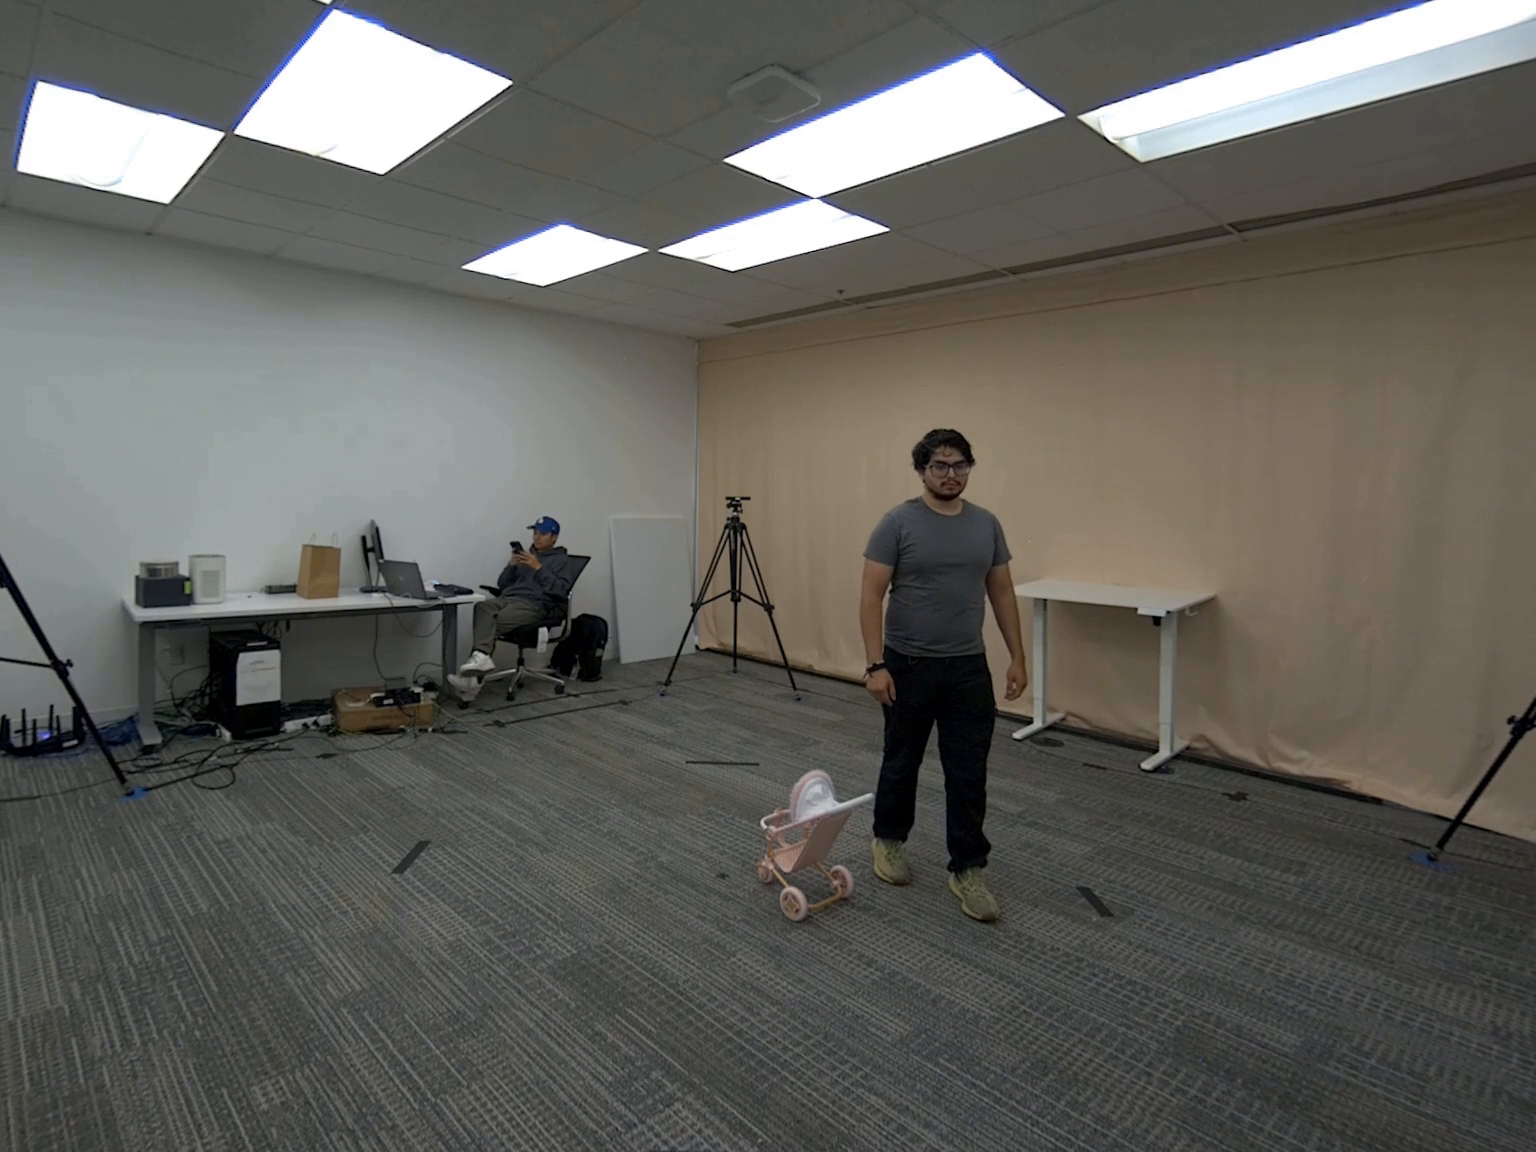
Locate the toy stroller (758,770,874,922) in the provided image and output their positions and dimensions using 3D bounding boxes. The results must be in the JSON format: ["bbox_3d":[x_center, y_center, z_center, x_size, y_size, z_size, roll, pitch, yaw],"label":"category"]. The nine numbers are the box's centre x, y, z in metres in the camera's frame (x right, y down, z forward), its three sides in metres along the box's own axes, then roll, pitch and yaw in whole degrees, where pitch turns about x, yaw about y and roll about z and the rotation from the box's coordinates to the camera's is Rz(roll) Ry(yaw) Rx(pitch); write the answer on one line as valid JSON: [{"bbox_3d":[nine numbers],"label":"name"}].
[{"bbox_3d":[0.129,0.906,2.904,0.275,0.530,0.352,-1,21,-40],"label":"toy stroller"}]
